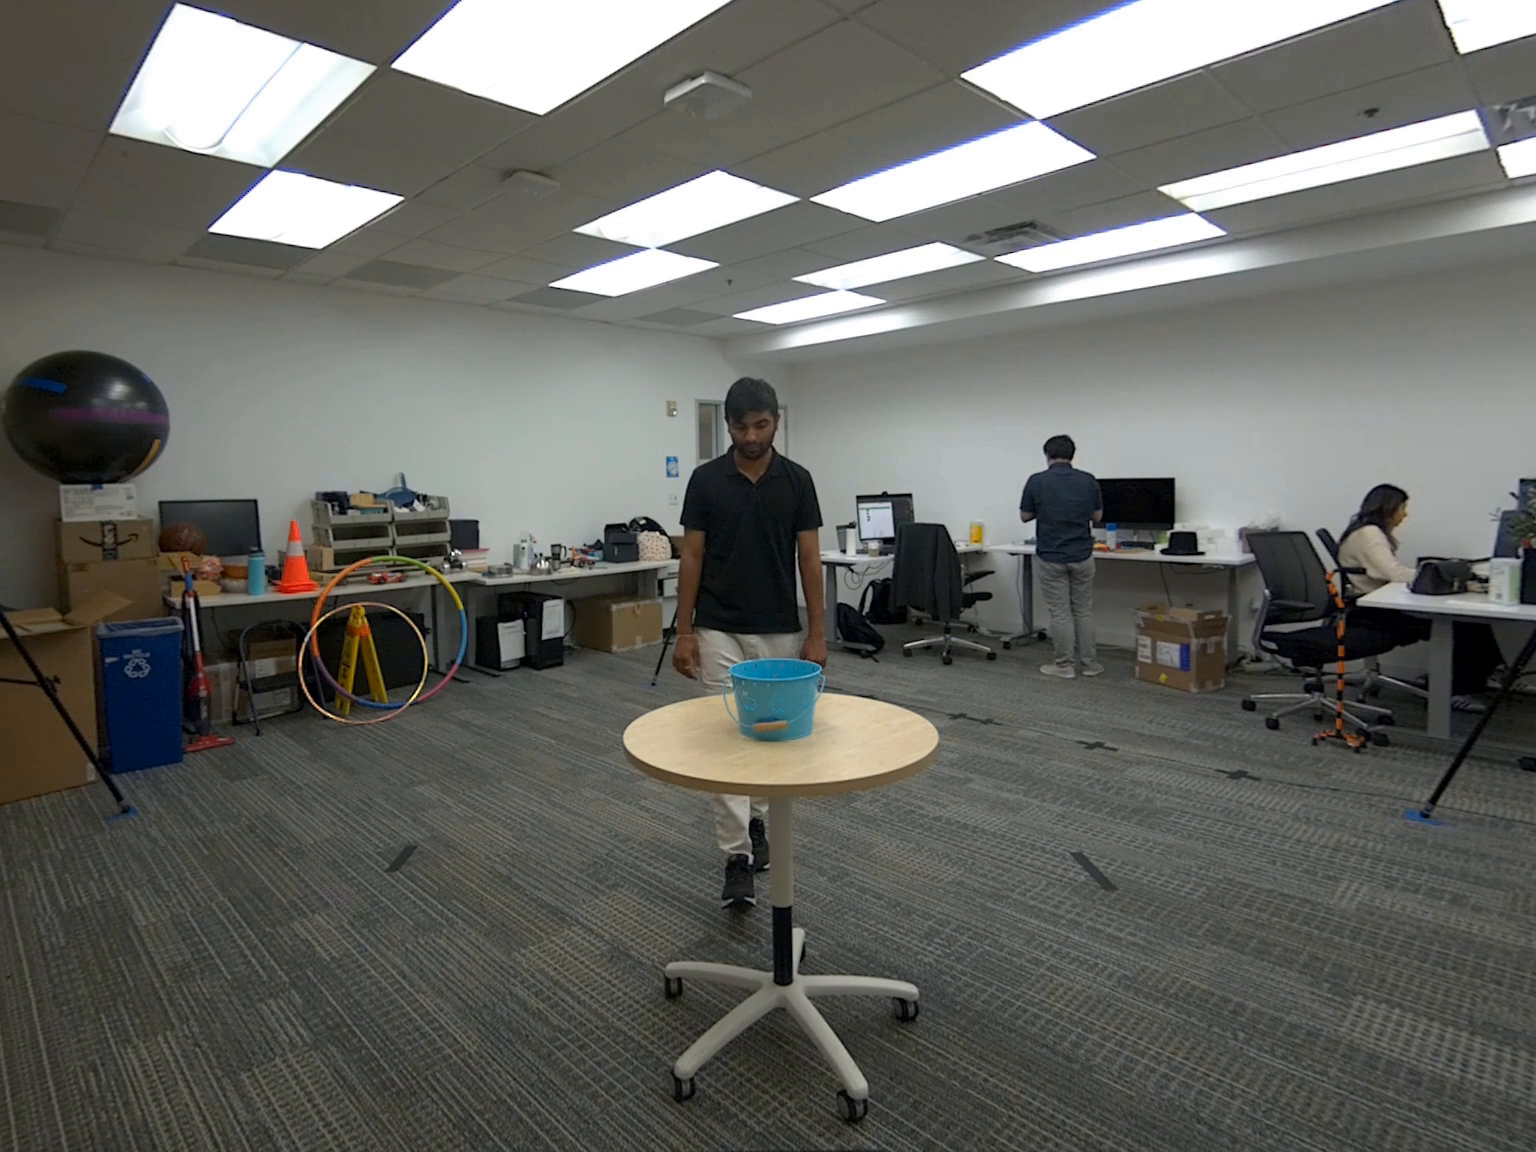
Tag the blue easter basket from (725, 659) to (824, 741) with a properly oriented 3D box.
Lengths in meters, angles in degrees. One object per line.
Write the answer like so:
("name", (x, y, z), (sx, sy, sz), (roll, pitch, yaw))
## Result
("blue easter basket", (0.021, 0.305, 2.096), (0.243, 0.155, 0.245), (0, 5, -2))
